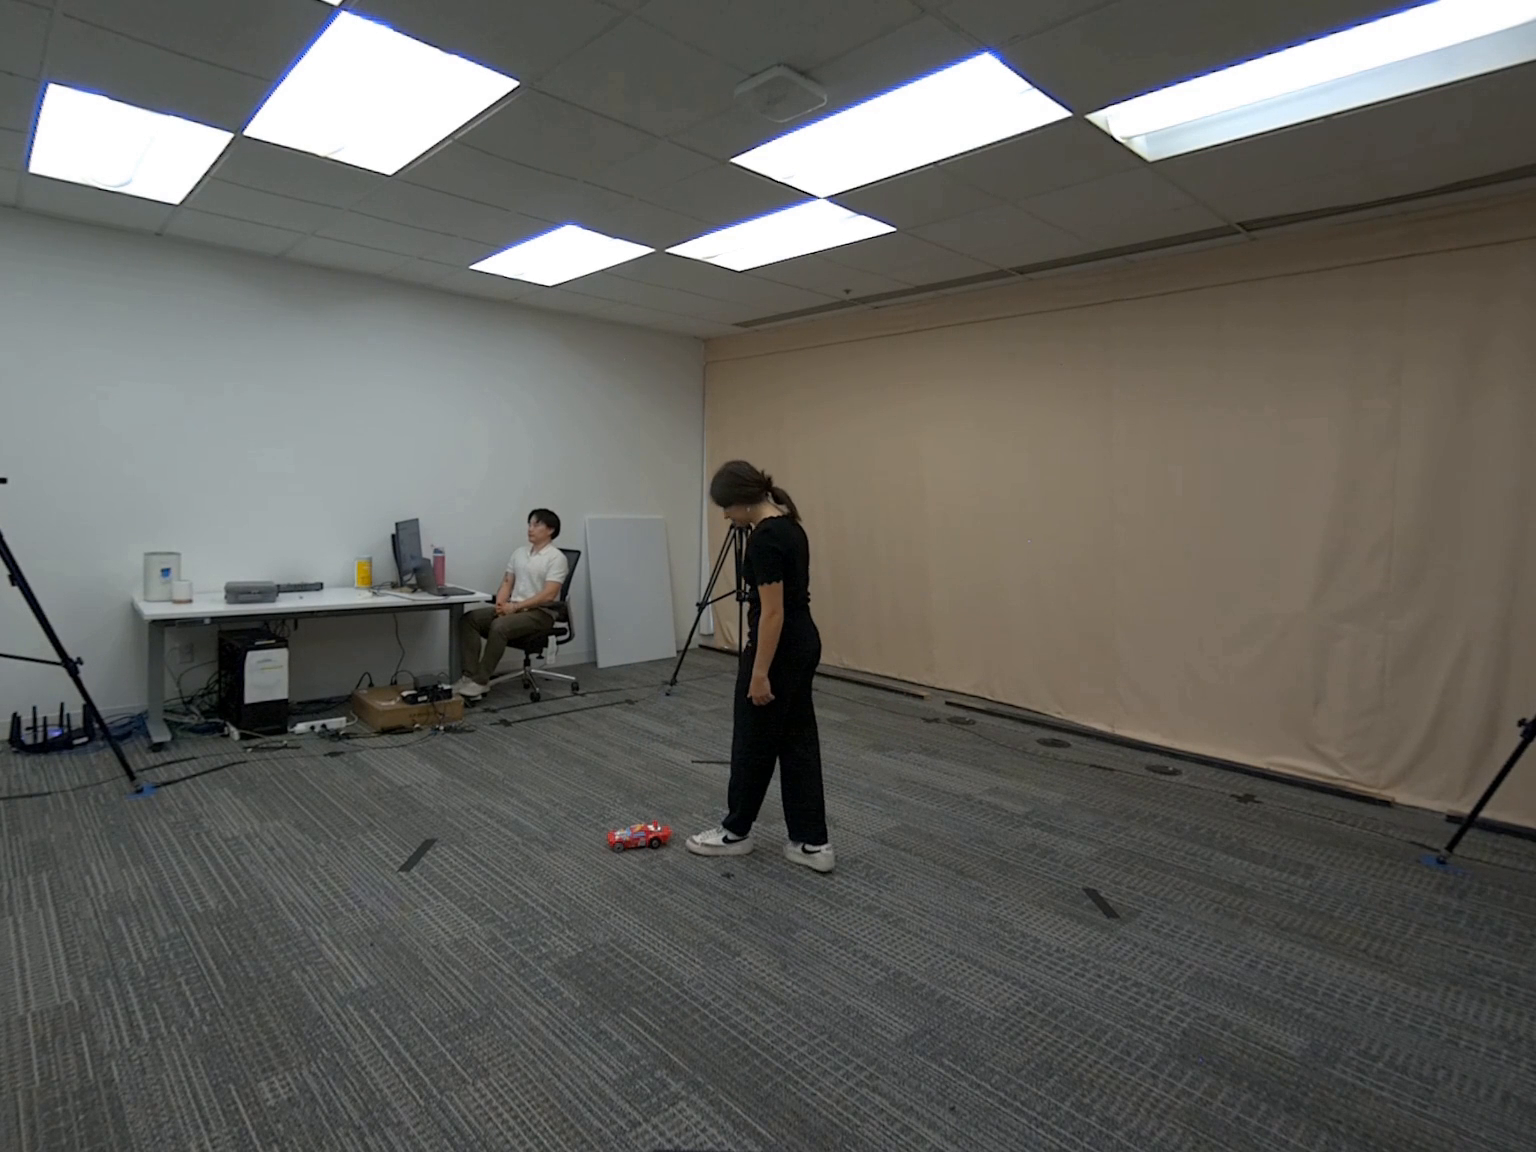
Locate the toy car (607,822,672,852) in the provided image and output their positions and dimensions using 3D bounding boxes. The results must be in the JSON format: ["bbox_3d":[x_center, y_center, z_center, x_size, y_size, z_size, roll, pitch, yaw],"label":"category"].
[{"bbox_3d":[-0.515,1.036,3.361,0.252,0.083,0.132,-11,7,-16],"label":"toy car"}]
